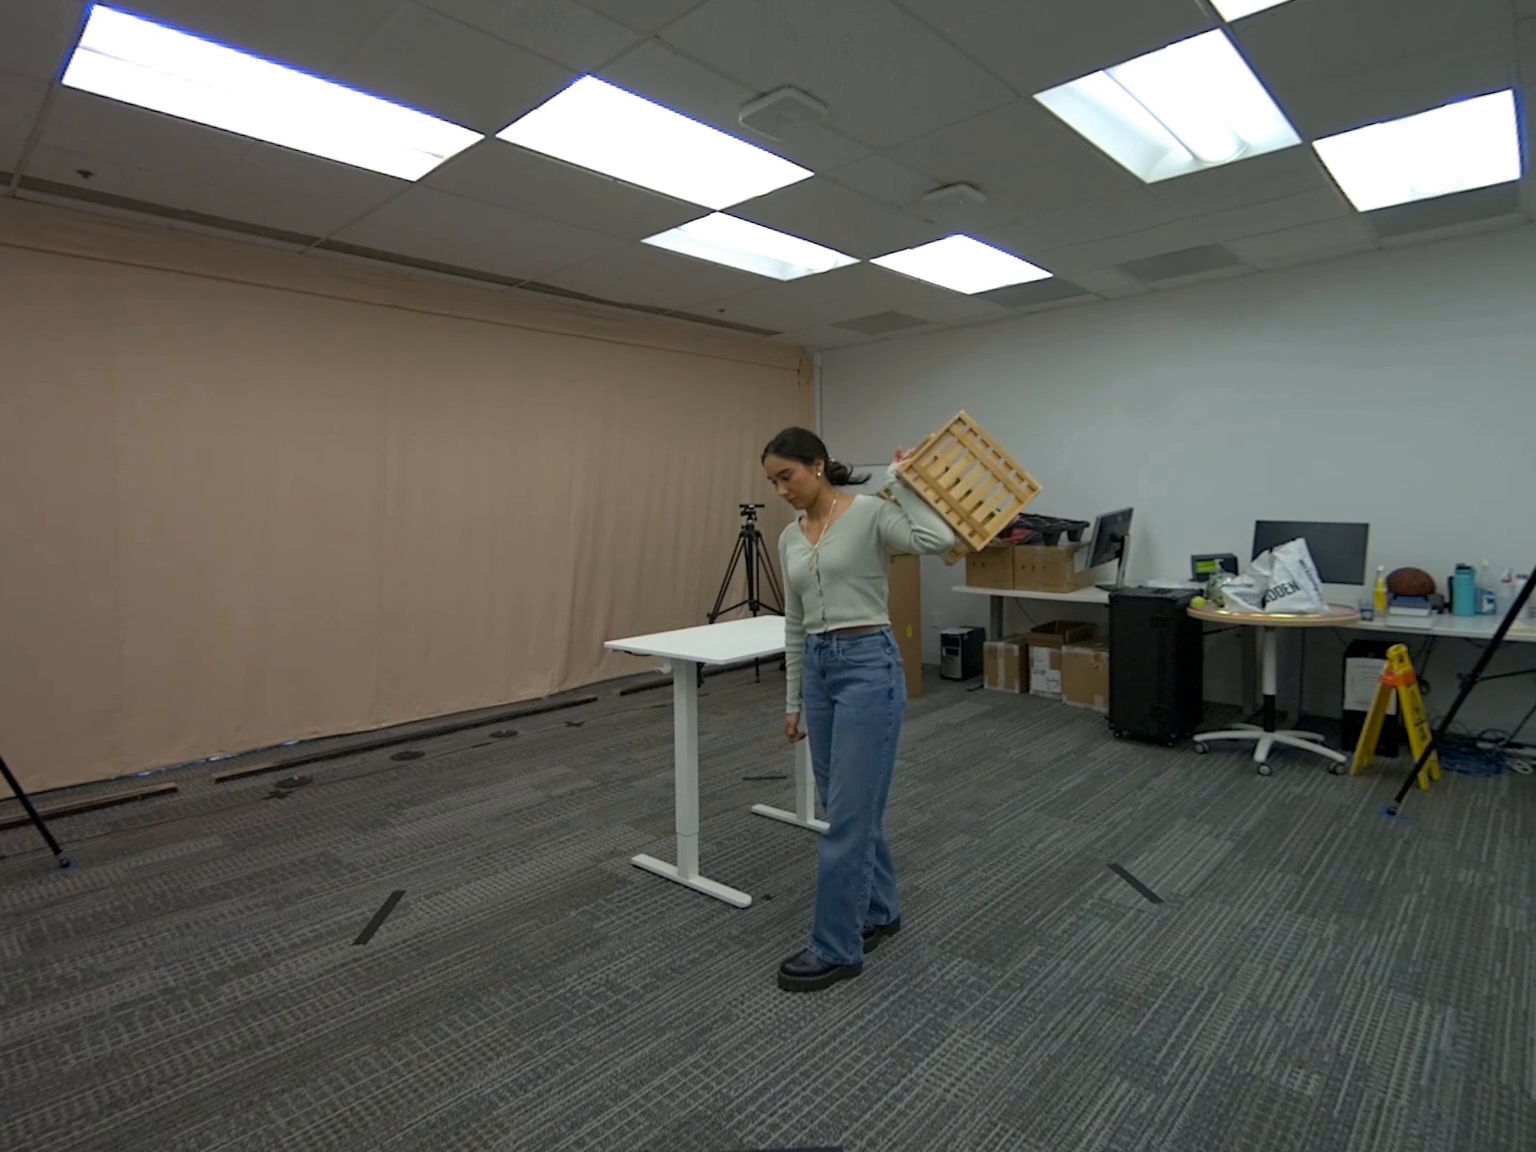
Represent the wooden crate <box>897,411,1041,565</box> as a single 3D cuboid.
[{"bbox_3d":[0.541,-0.245,2.375,0.302,0.326,0.272,-44,-4,1],"label":"wooden crate"}]
